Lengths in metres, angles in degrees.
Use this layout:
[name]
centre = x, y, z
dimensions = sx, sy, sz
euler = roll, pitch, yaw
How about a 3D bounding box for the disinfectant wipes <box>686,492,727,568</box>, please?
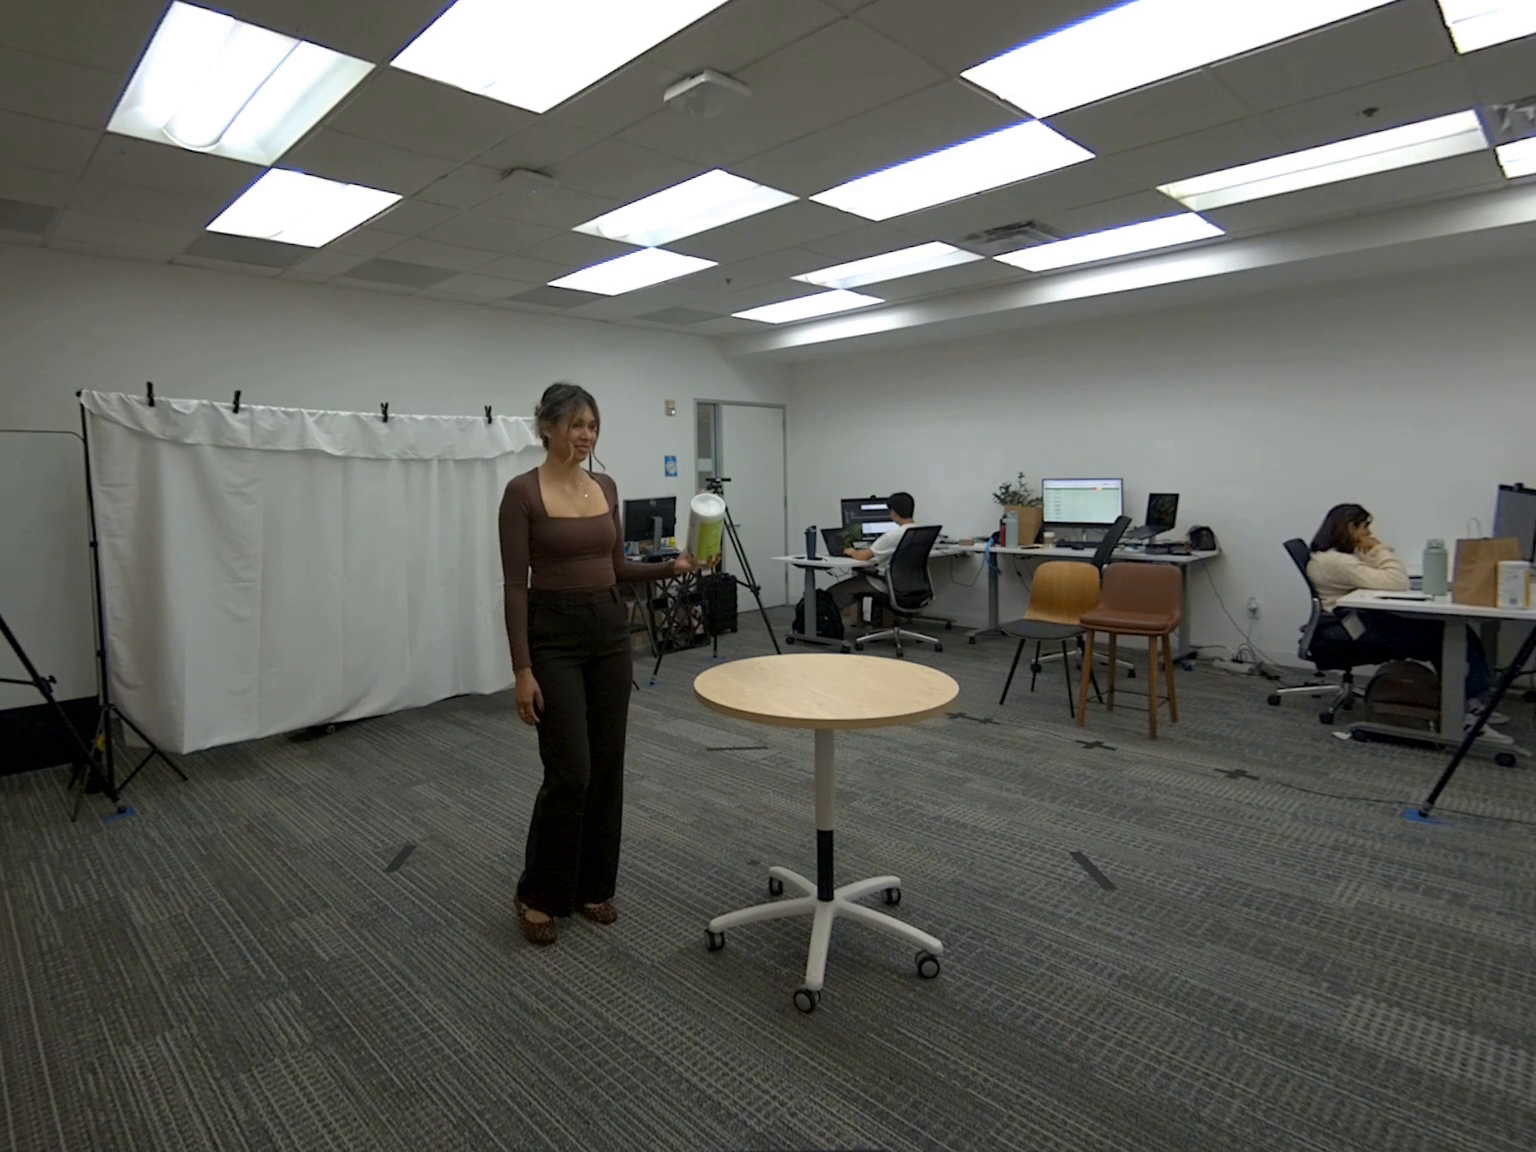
[disinfectant wipes]
centre = -0.202, -0.146, 2.689
dimensions = 0.117, 0.212, 0.121
euler = 4, 44, -6
